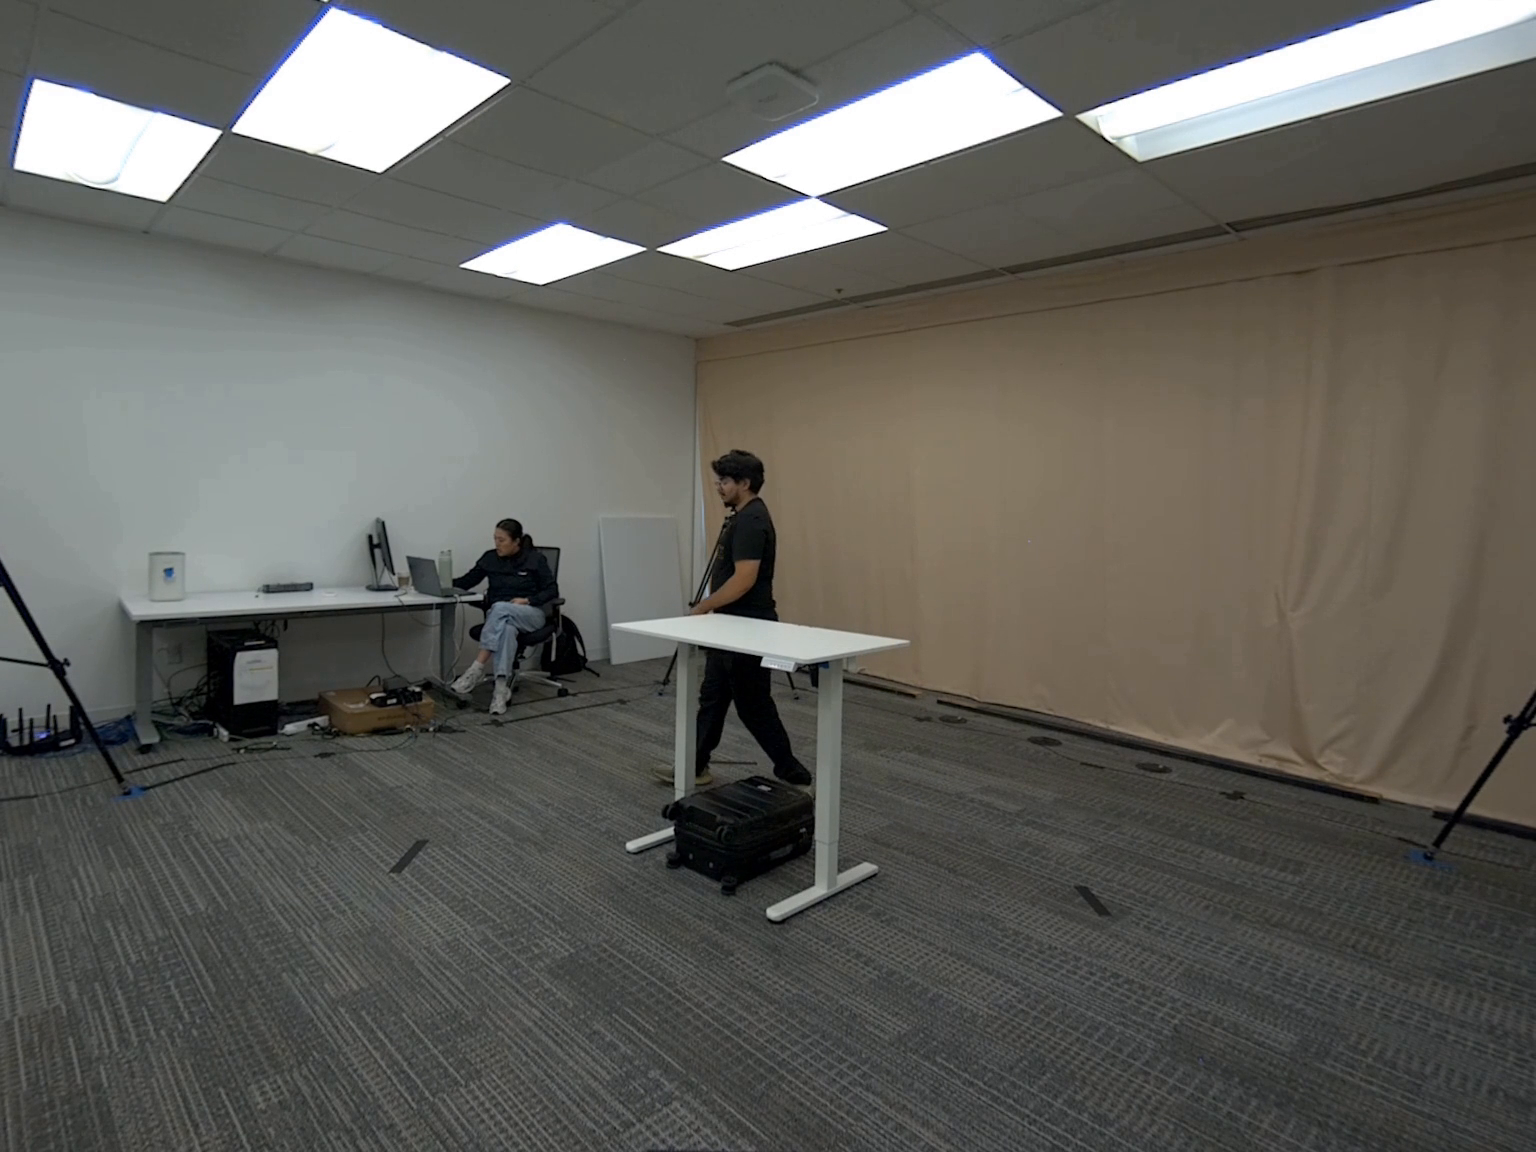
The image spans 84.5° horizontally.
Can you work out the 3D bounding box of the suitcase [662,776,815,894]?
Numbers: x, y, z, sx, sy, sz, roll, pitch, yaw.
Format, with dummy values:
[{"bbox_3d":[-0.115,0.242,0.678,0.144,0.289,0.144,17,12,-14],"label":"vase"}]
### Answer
[{"bbox_3d":[-0.102,0.976,3.250,0.385,0.247,0.537,5,7,42],"label":"suitcase"}]
